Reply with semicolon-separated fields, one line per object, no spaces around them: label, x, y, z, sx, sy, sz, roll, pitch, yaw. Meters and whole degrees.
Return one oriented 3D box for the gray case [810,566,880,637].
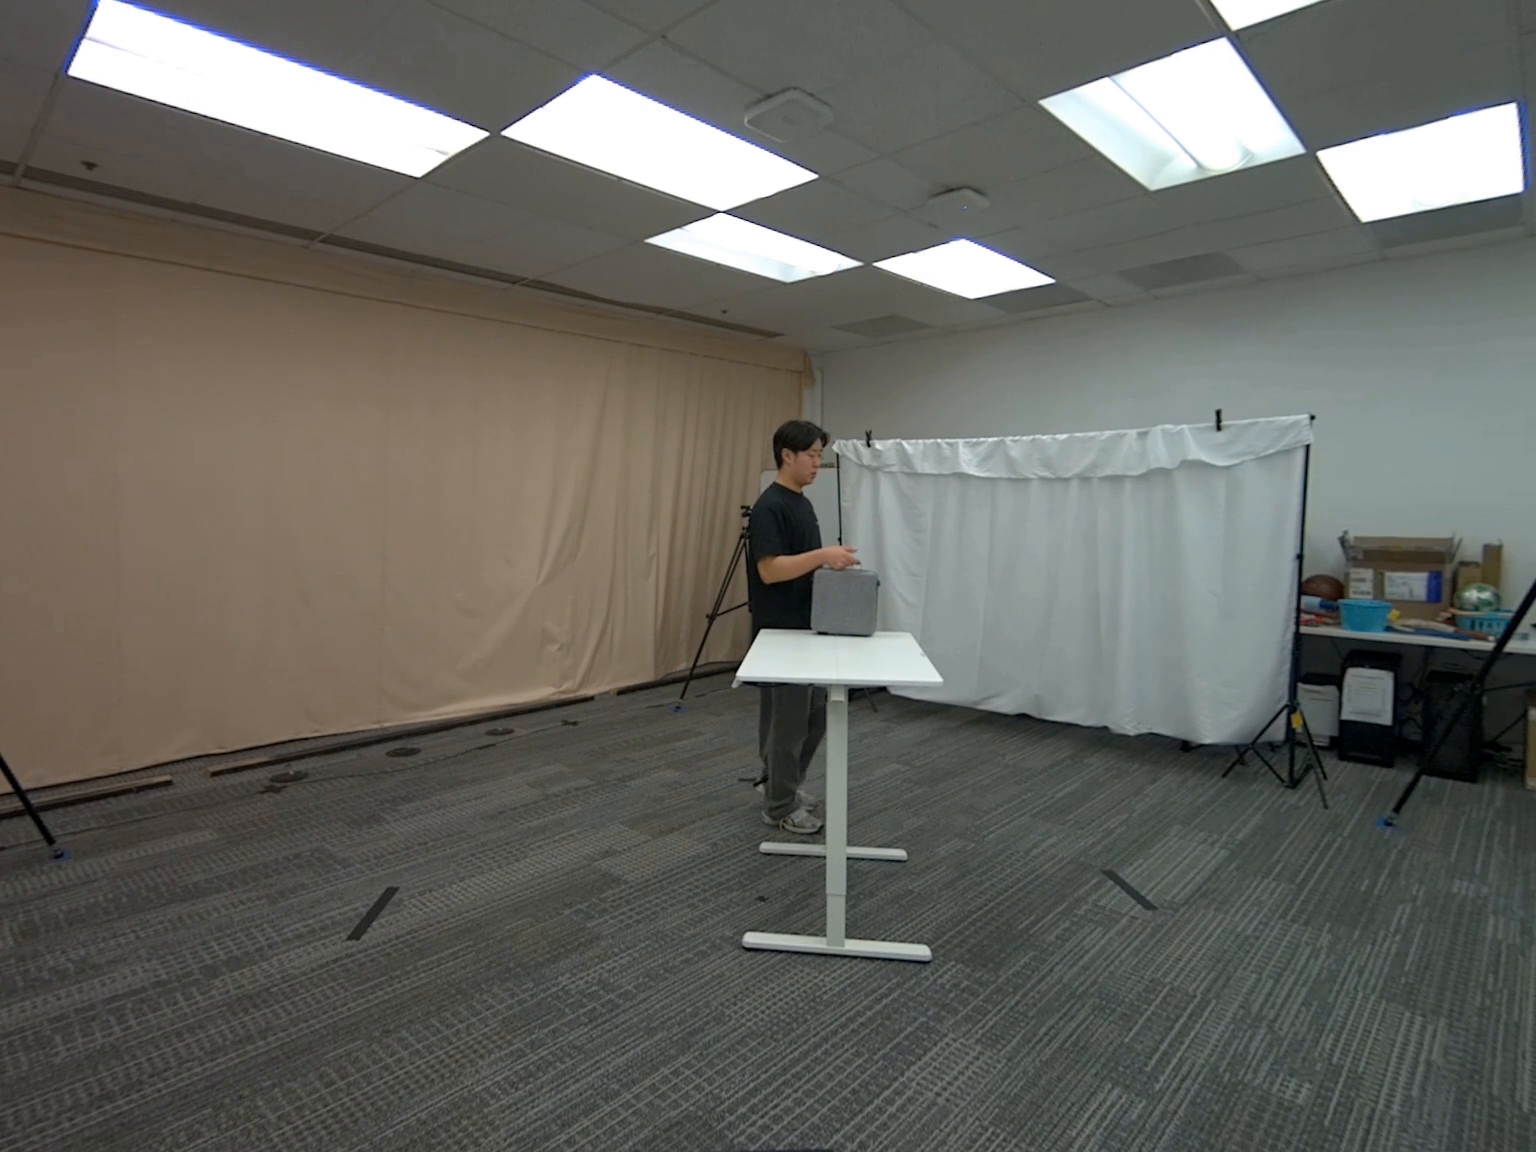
gray case;0.308;0.091;3.323;0.267;0.287;0.102;3;3;12
